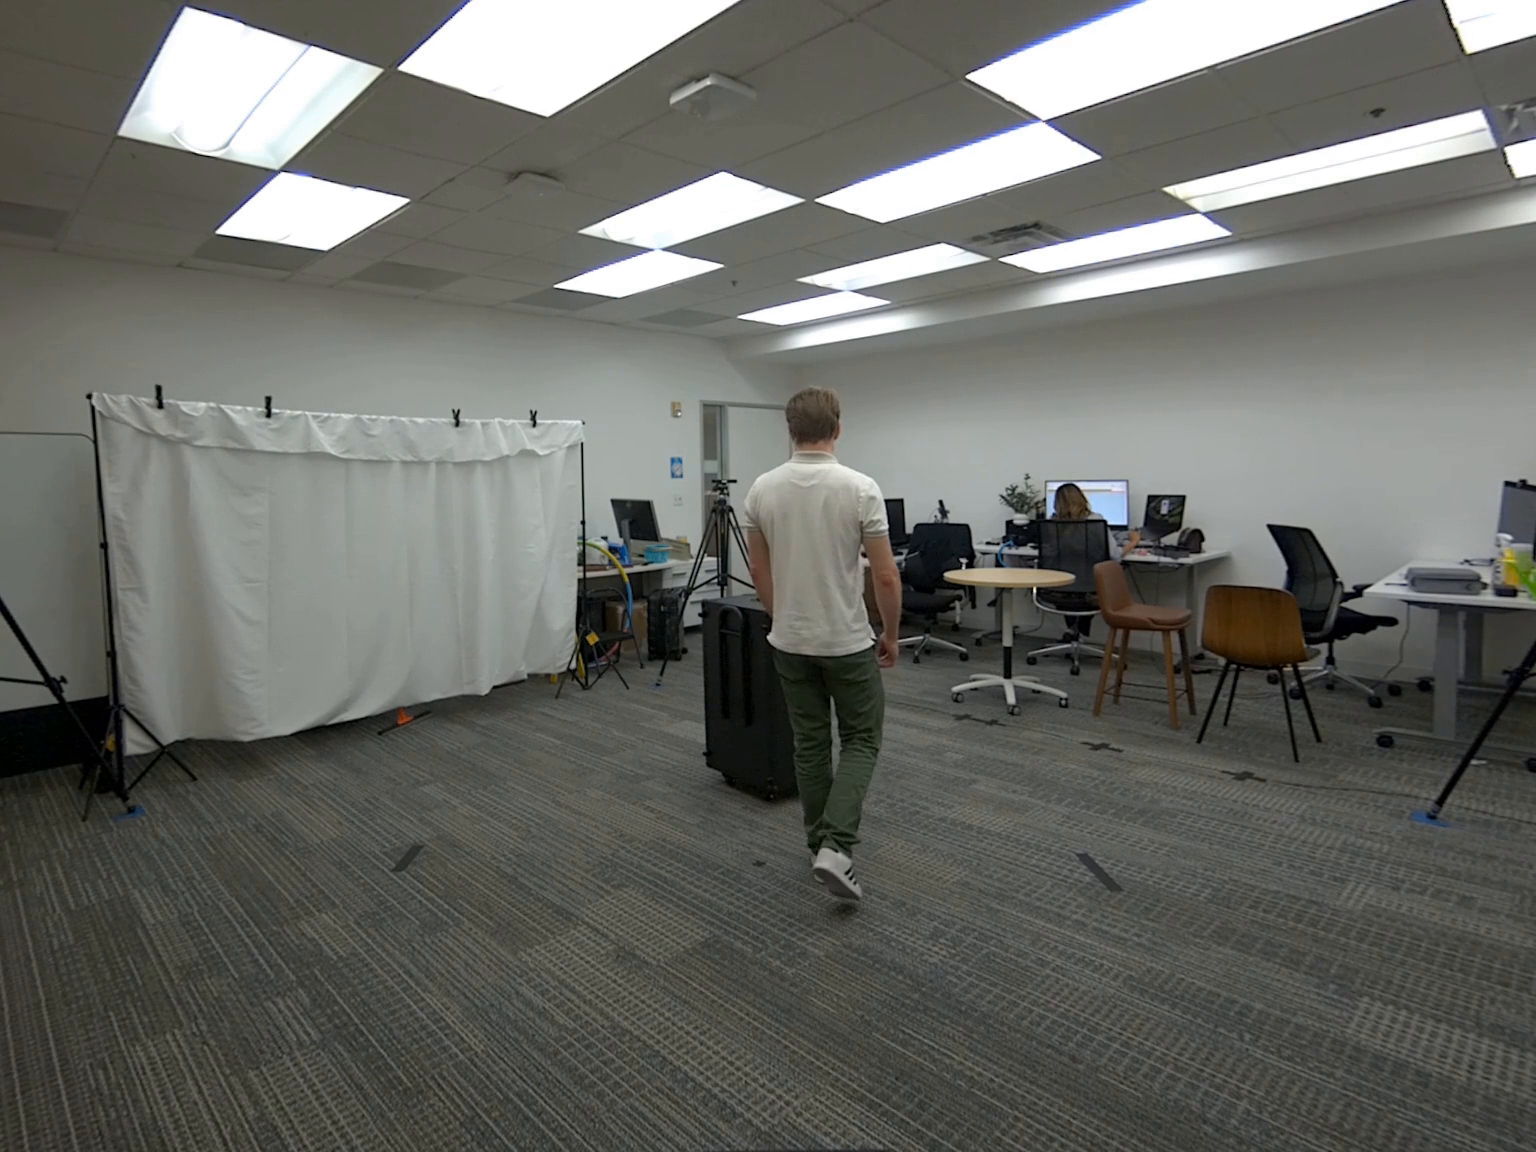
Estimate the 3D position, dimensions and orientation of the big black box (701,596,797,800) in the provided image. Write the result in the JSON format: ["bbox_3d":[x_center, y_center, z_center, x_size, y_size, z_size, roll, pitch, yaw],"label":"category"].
[{"bbox_3d":[-0.006,0.543,3.872,0.375,0.865,0.539,-5,6,-39],"label":"big black box"}]
